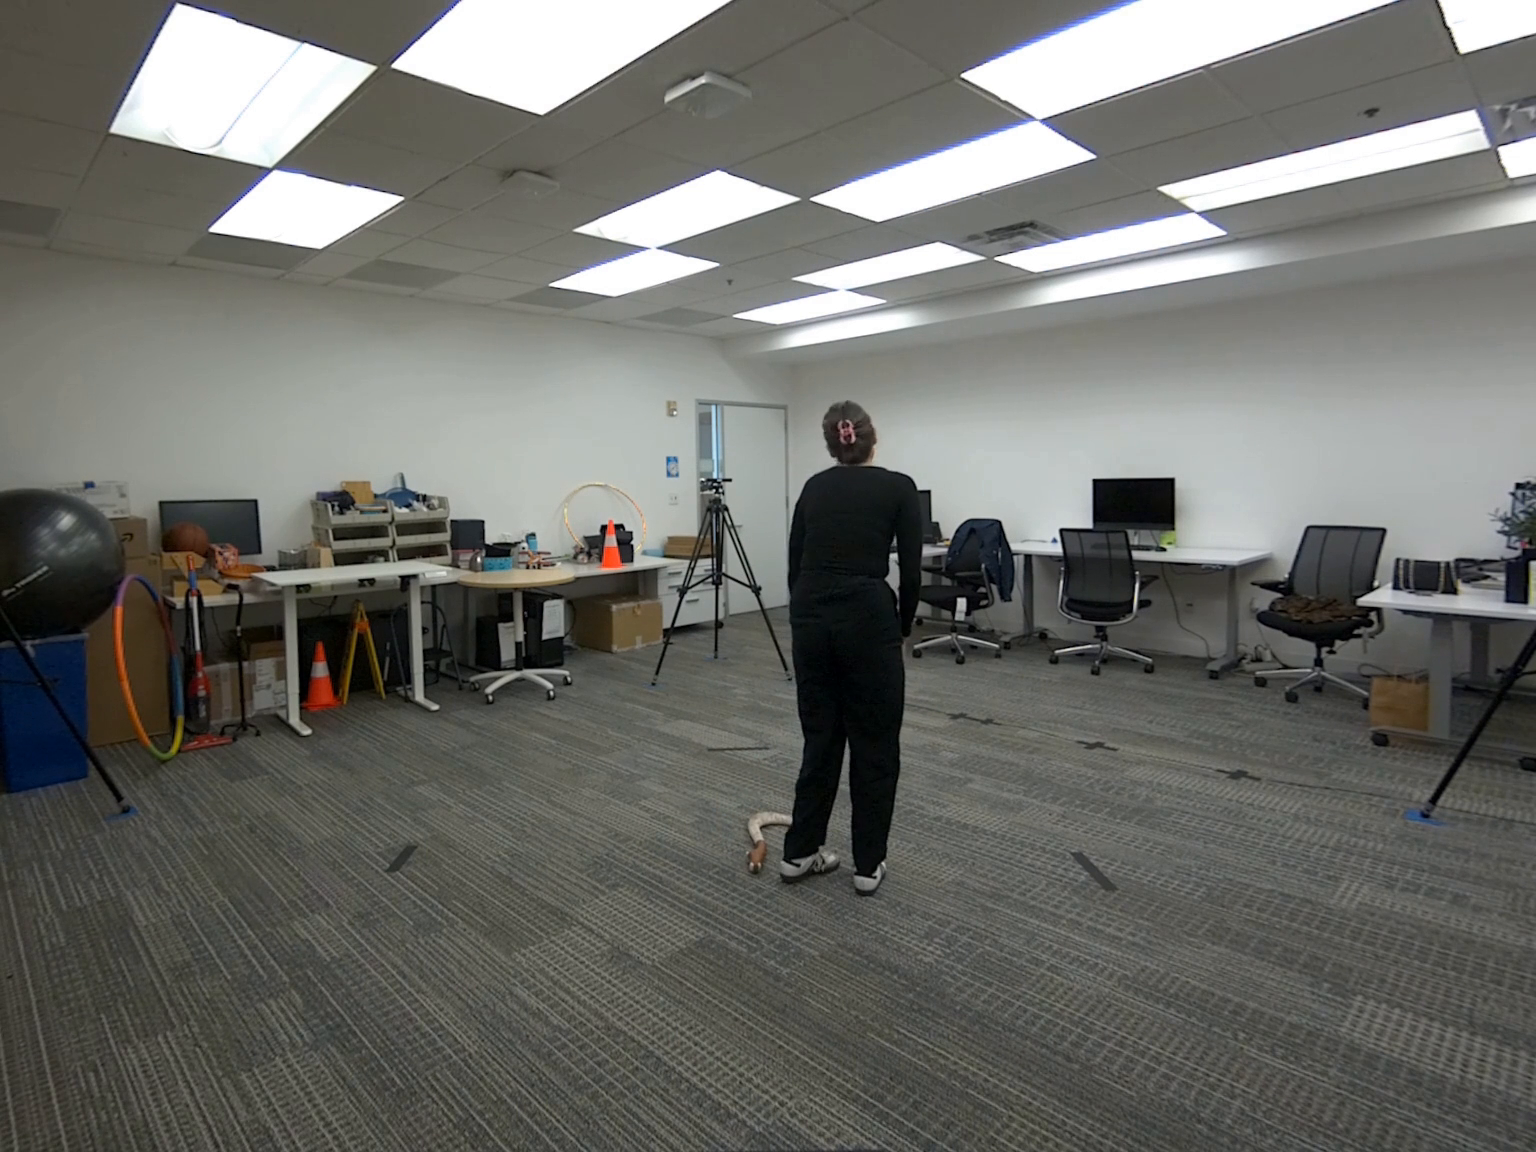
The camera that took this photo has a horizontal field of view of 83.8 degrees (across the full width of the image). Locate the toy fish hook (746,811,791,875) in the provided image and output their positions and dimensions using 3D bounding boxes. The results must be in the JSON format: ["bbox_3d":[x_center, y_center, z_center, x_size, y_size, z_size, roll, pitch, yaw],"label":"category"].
[{"bbox_3d":[0.024,1.004,3.249,0.226,0.048,0.506,-2,7,5],"label":"toy fish hook"}]
